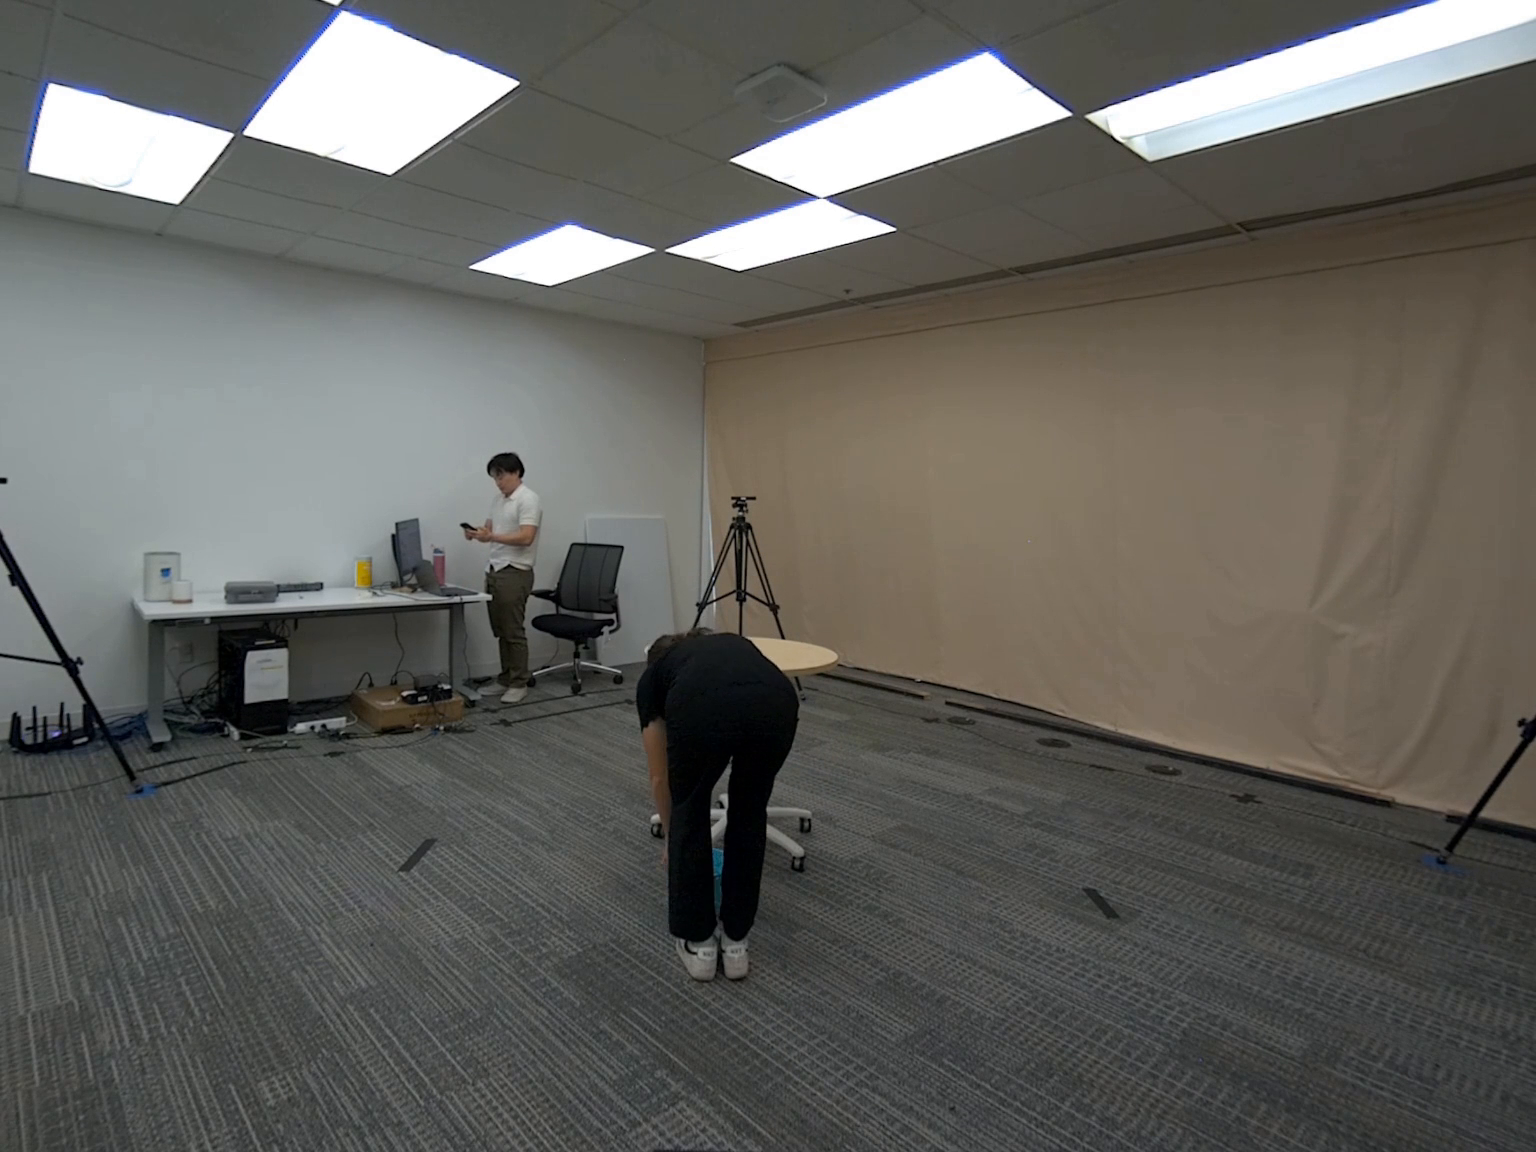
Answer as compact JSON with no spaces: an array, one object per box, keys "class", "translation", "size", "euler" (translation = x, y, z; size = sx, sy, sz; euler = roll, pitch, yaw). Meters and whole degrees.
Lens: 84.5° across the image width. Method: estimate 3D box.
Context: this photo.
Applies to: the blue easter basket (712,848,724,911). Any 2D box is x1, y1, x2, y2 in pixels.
[{"class":"blue easter basket","translation":[-0.243,1.055,2.861],"size":[0.243,0.155,0.244],"euler":[2,4,-1]}]
